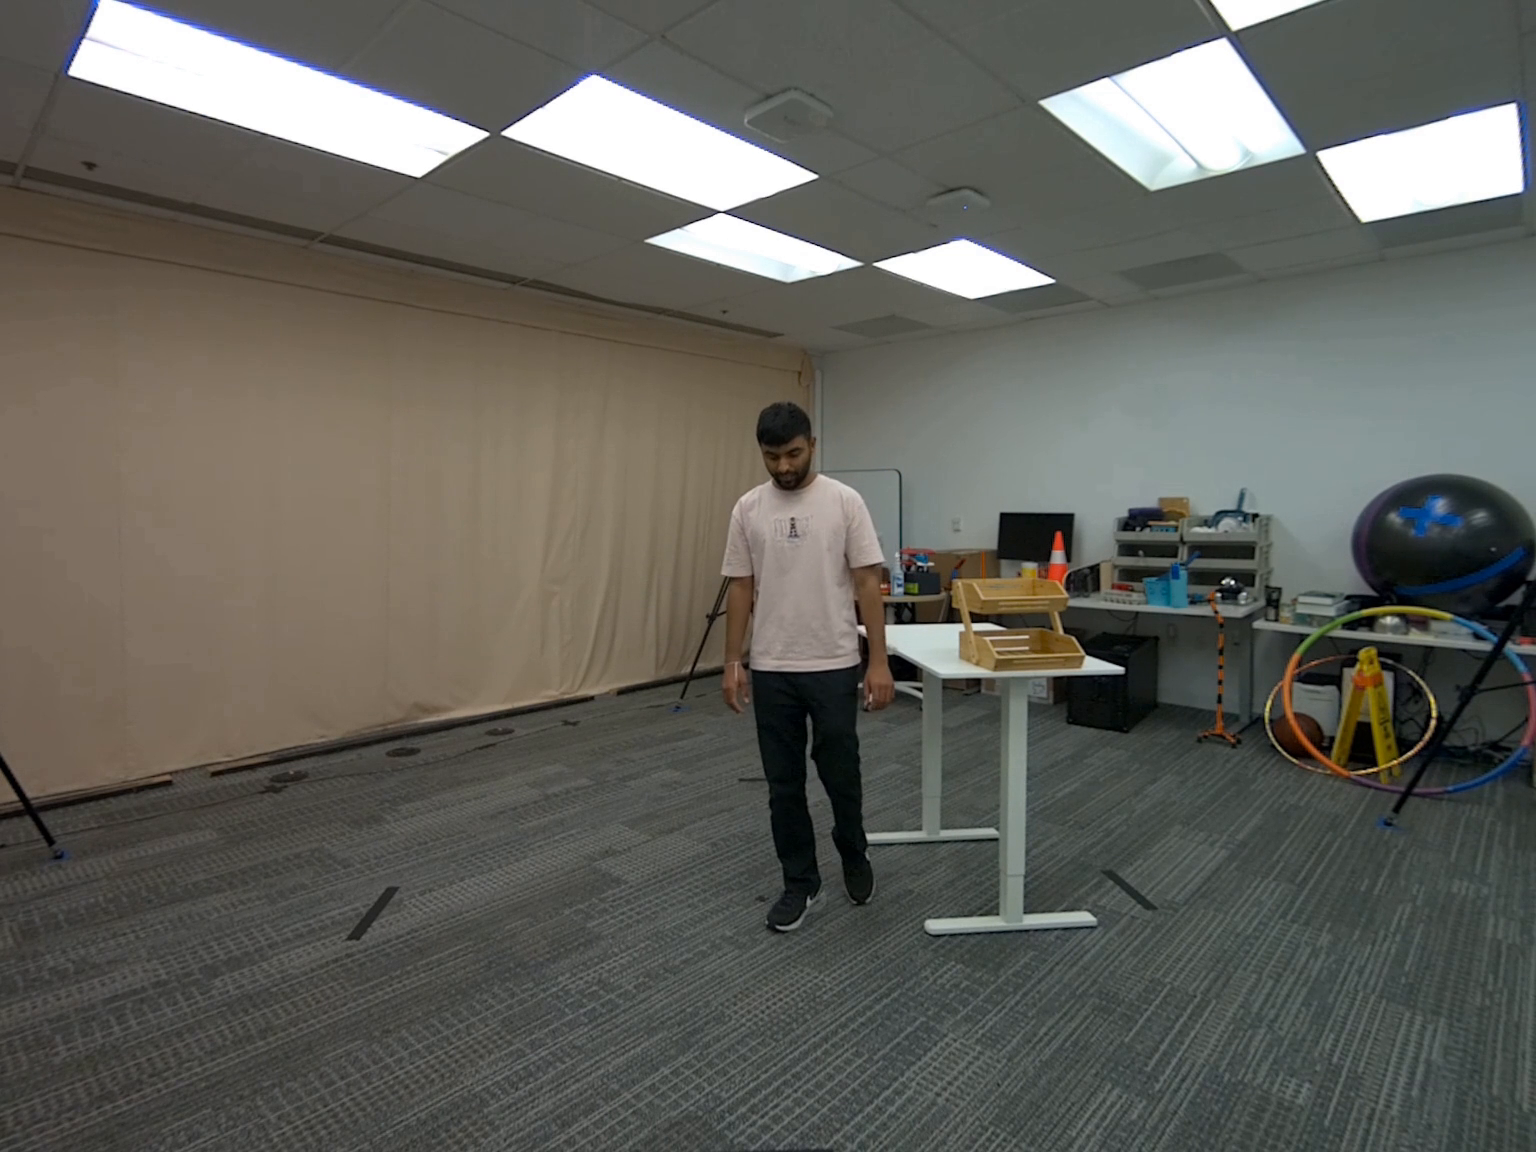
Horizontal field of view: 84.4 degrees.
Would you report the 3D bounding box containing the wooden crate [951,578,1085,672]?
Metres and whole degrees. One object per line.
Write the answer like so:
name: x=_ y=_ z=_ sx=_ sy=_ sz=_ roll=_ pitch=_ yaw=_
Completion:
wooden crate: x=0.818 y=0.155 z=2.717 sx=0.321 sy=0.272 sz=0.306 roll=-1 pitch=5 yaw=-10
